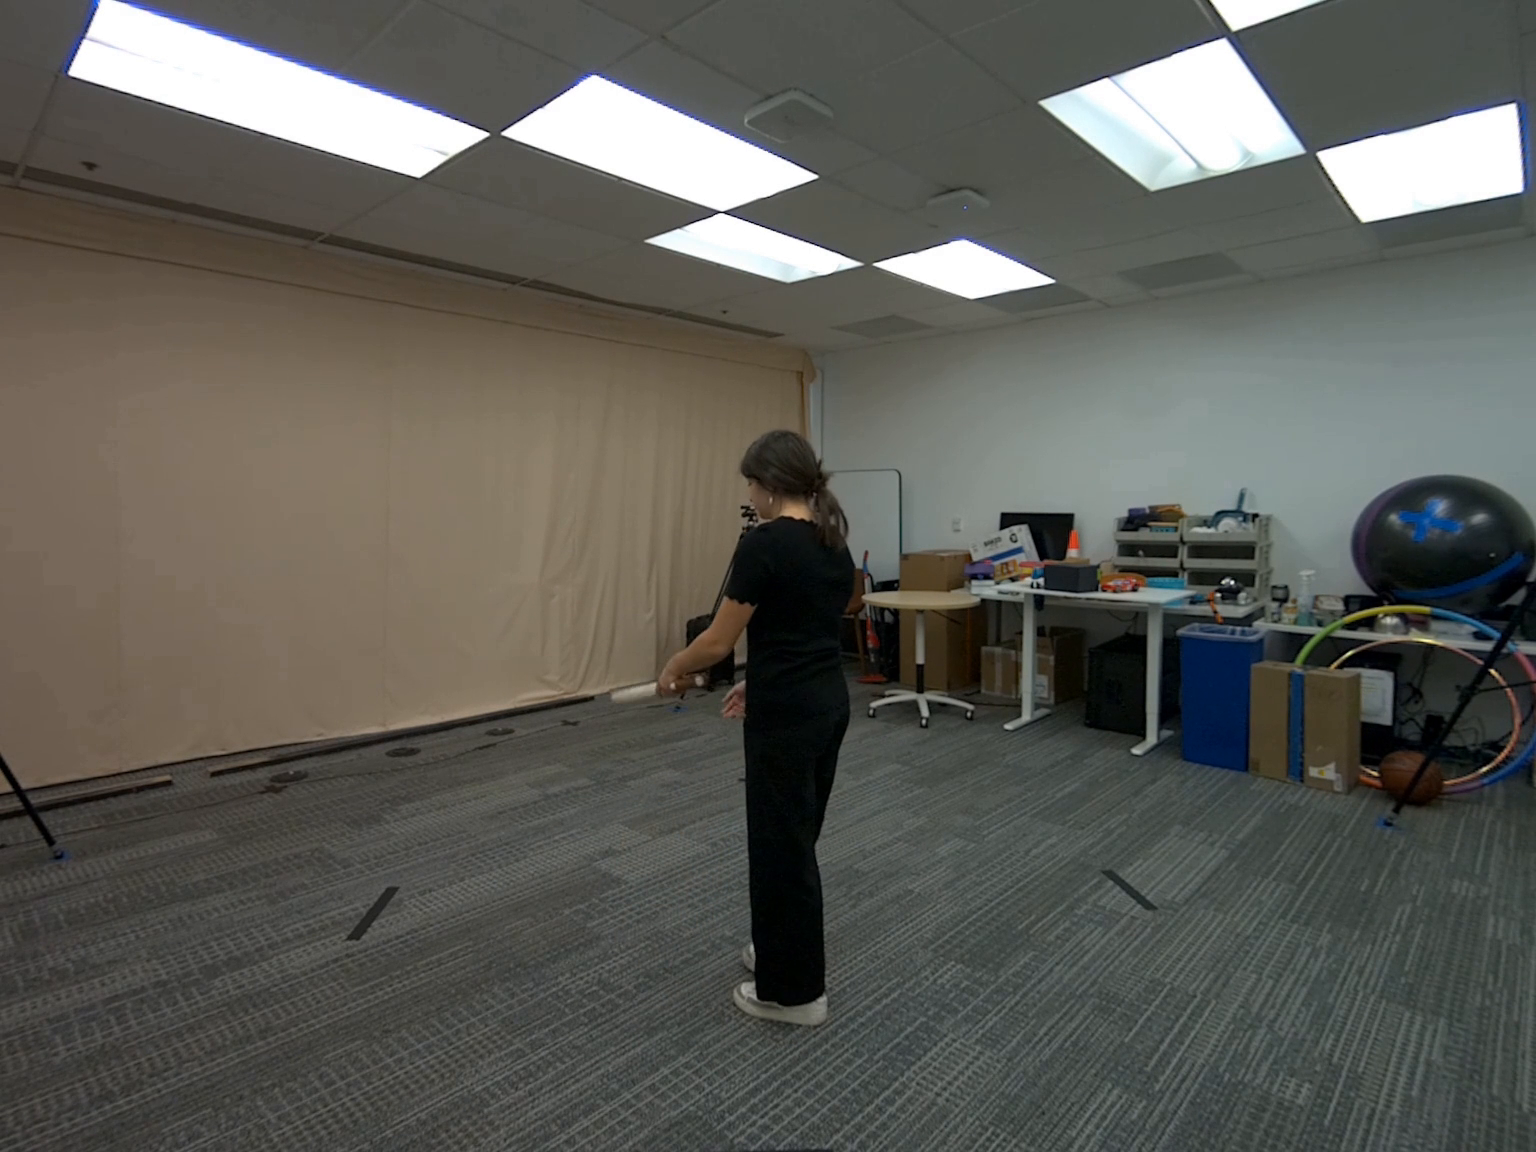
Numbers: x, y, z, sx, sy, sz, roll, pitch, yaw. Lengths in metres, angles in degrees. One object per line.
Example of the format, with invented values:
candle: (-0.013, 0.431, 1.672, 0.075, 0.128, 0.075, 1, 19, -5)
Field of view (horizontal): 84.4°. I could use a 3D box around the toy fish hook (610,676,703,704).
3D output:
toy fish hook: (-0.286, 0.308, 2.505, 0.218, 0.048, 0.519, -12, -2, -40)
